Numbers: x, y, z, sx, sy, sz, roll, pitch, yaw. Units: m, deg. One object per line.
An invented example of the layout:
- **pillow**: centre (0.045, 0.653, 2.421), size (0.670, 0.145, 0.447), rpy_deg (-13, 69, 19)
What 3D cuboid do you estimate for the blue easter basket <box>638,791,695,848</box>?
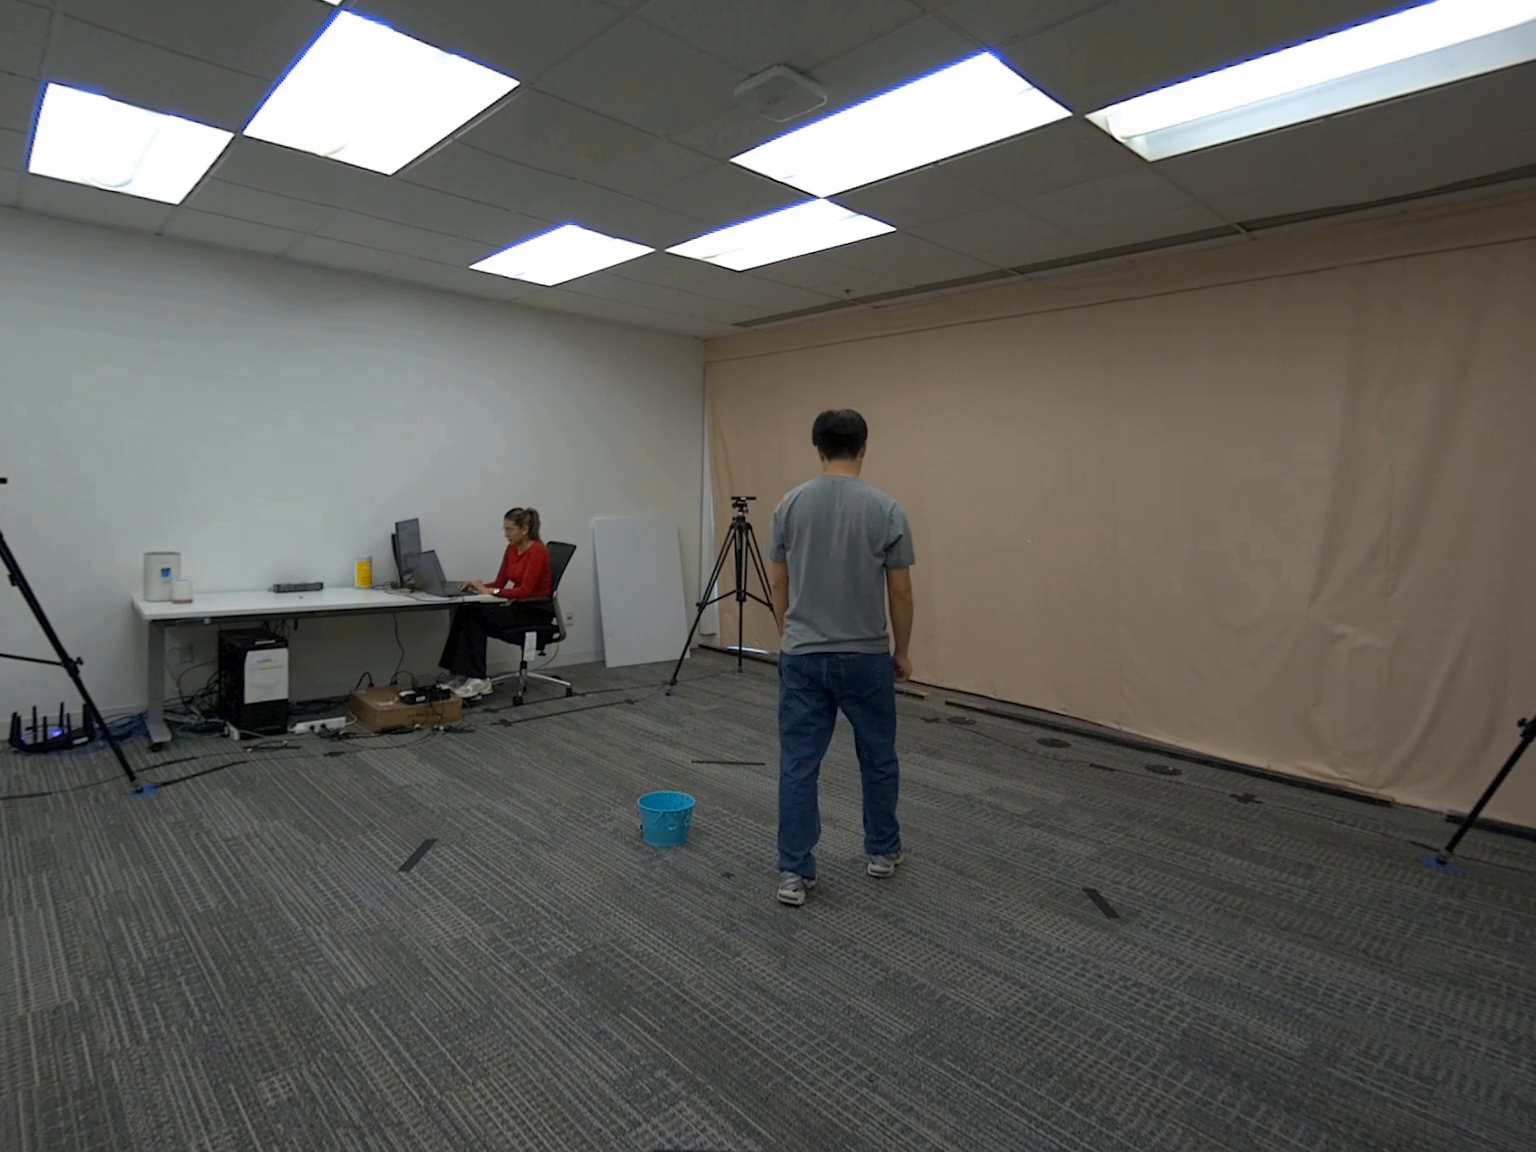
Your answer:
- **blue easter basket**: centre (-0.429, 0.991, 3.440), size (0.243, 0.155, 0.244), rpy_deg (2, 5, -1)
